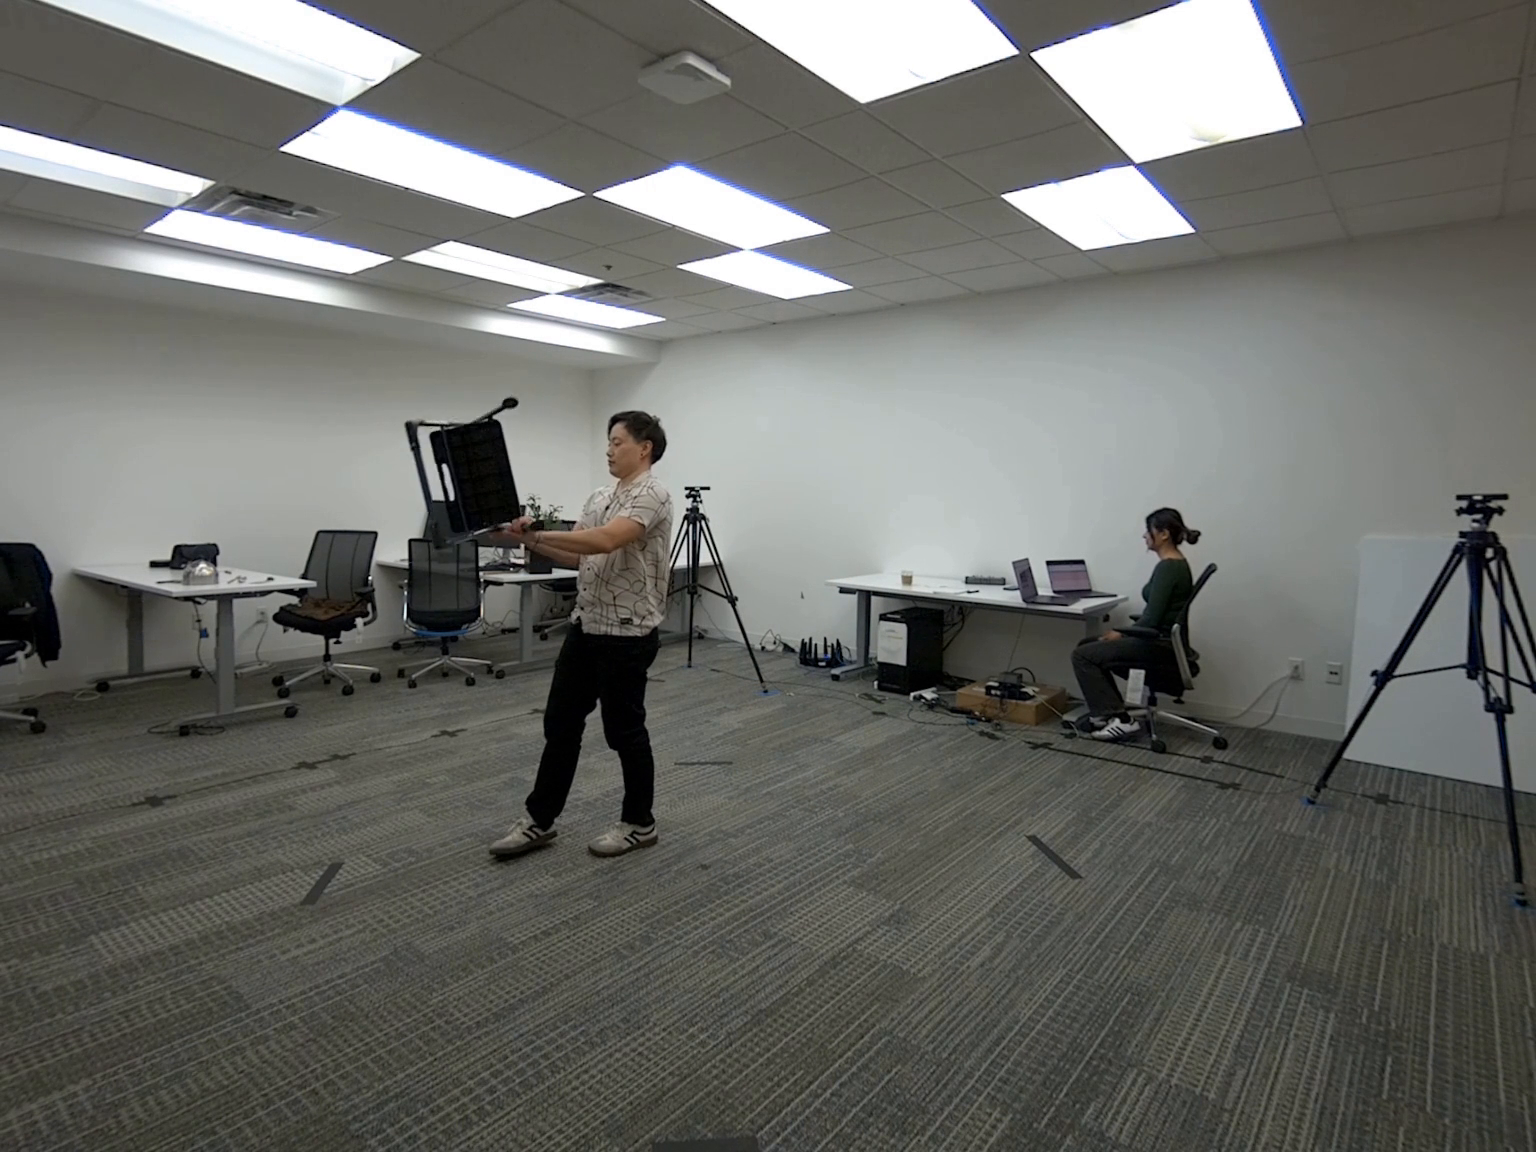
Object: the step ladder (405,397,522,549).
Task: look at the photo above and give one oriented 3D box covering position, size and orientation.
[{"bbox_3d":[-1.000,-0.337,2.968,0.346,0.427,0.616,-12,8,-10],"label":"step ladder"}]
